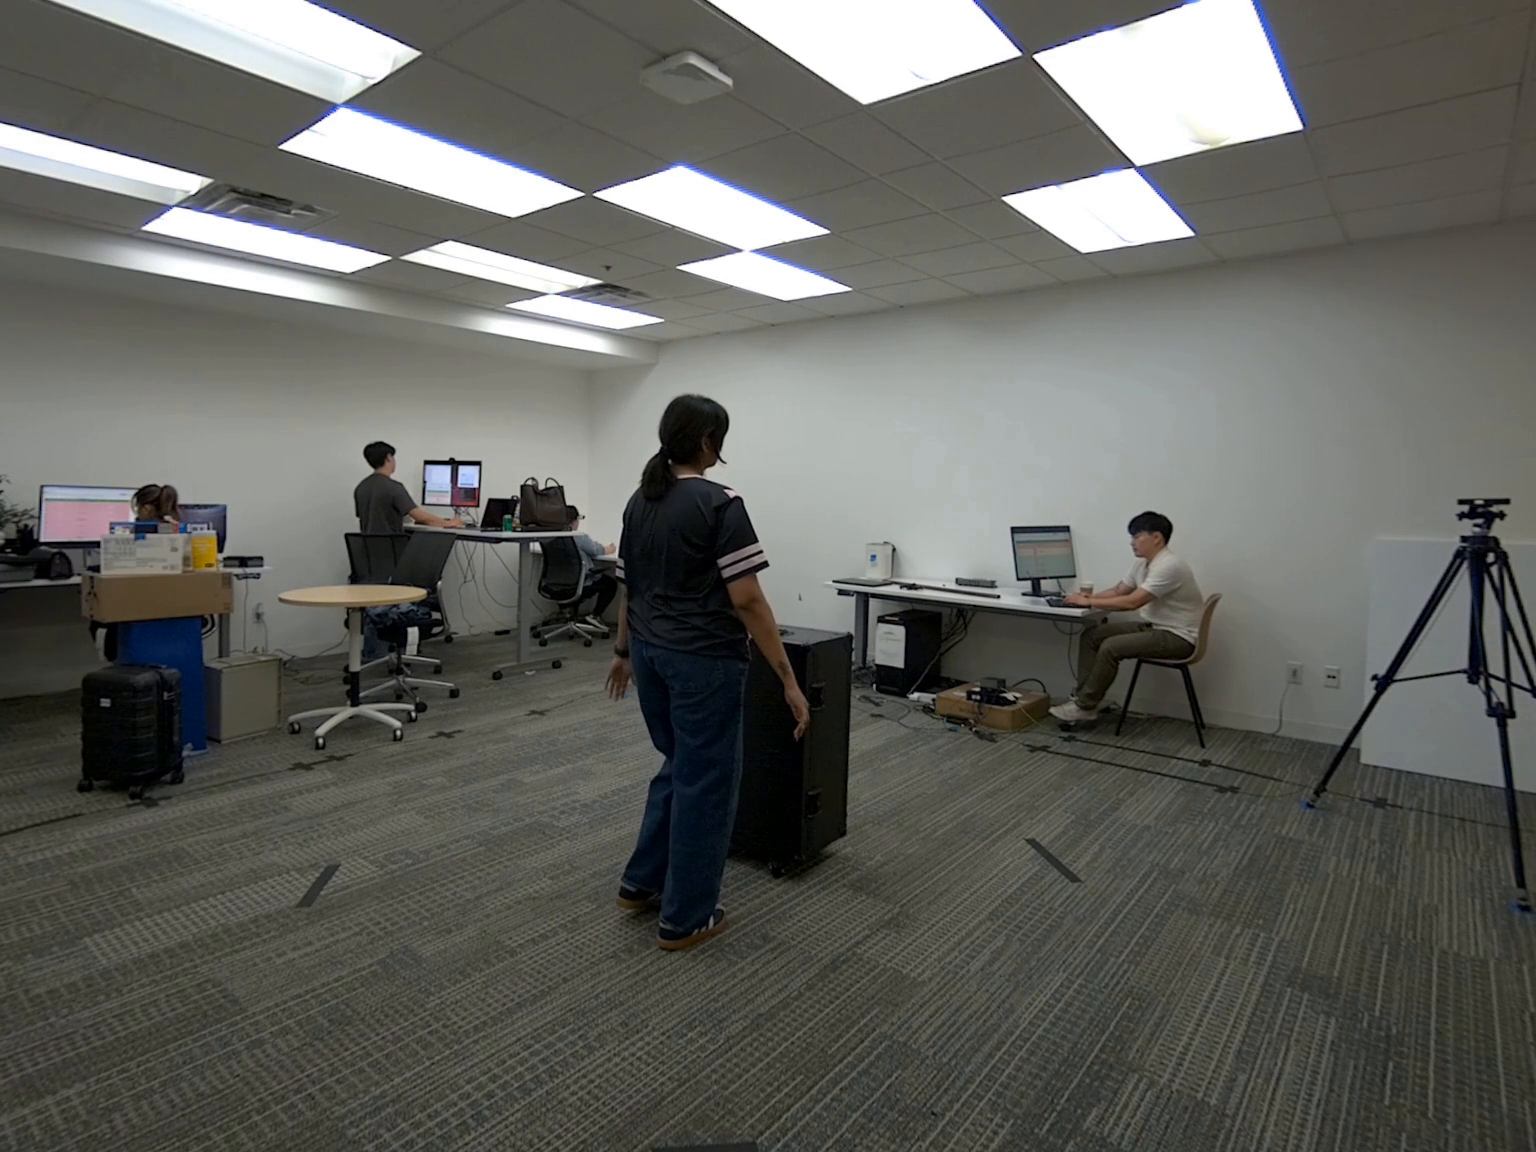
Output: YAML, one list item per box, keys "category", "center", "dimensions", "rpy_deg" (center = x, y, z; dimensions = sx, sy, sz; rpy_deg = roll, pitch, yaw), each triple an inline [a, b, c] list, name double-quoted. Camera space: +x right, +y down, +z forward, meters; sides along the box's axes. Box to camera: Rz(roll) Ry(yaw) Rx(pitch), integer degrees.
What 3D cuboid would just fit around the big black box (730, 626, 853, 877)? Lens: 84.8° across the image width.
- category: "big black box"
  center: [0.006, 0.639, 3.273]
  dimensions: [0.540, 0.866, 0.374]
  rpy_deg: [4, 3, 34]
